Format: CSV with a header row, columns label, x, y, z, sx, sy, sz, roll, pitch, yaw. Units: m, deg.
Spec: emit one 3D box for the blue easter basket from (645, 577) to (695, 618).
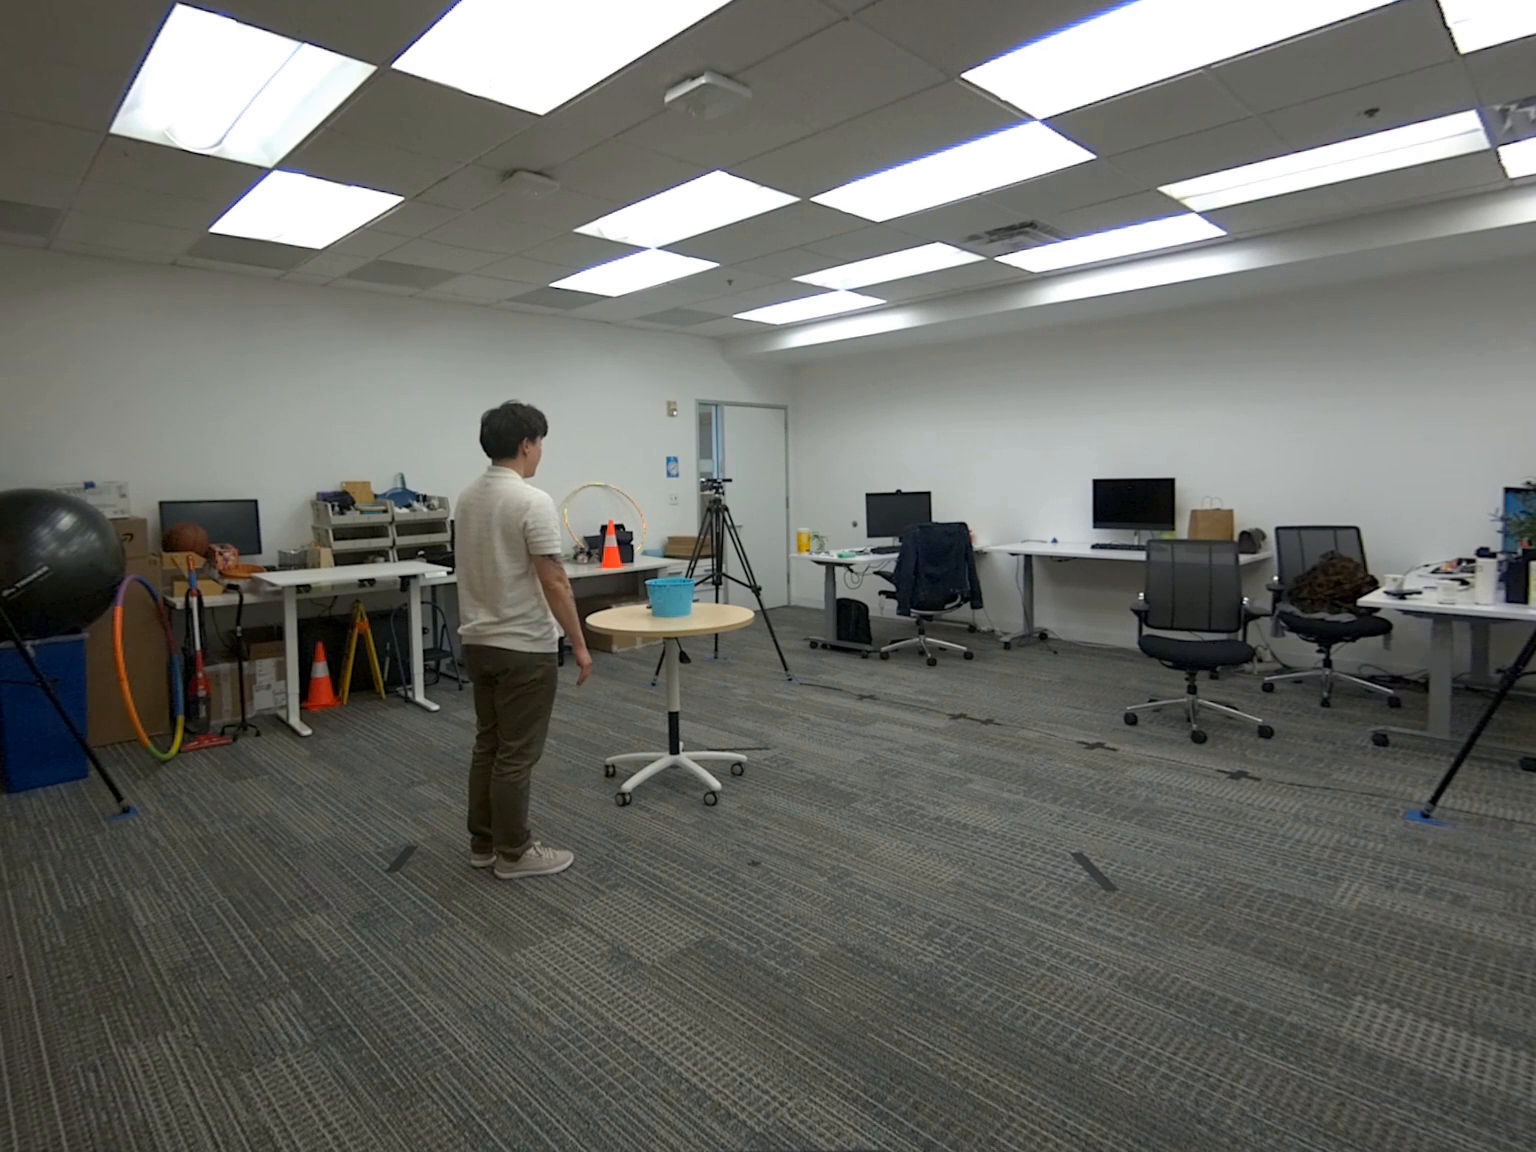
label,x,y,z,sx,sy,sz,roll,pitch,yaw
blue easter basket,-0.447,0.101,3.946,0.243,0.155,0.245,-2,5,-2
